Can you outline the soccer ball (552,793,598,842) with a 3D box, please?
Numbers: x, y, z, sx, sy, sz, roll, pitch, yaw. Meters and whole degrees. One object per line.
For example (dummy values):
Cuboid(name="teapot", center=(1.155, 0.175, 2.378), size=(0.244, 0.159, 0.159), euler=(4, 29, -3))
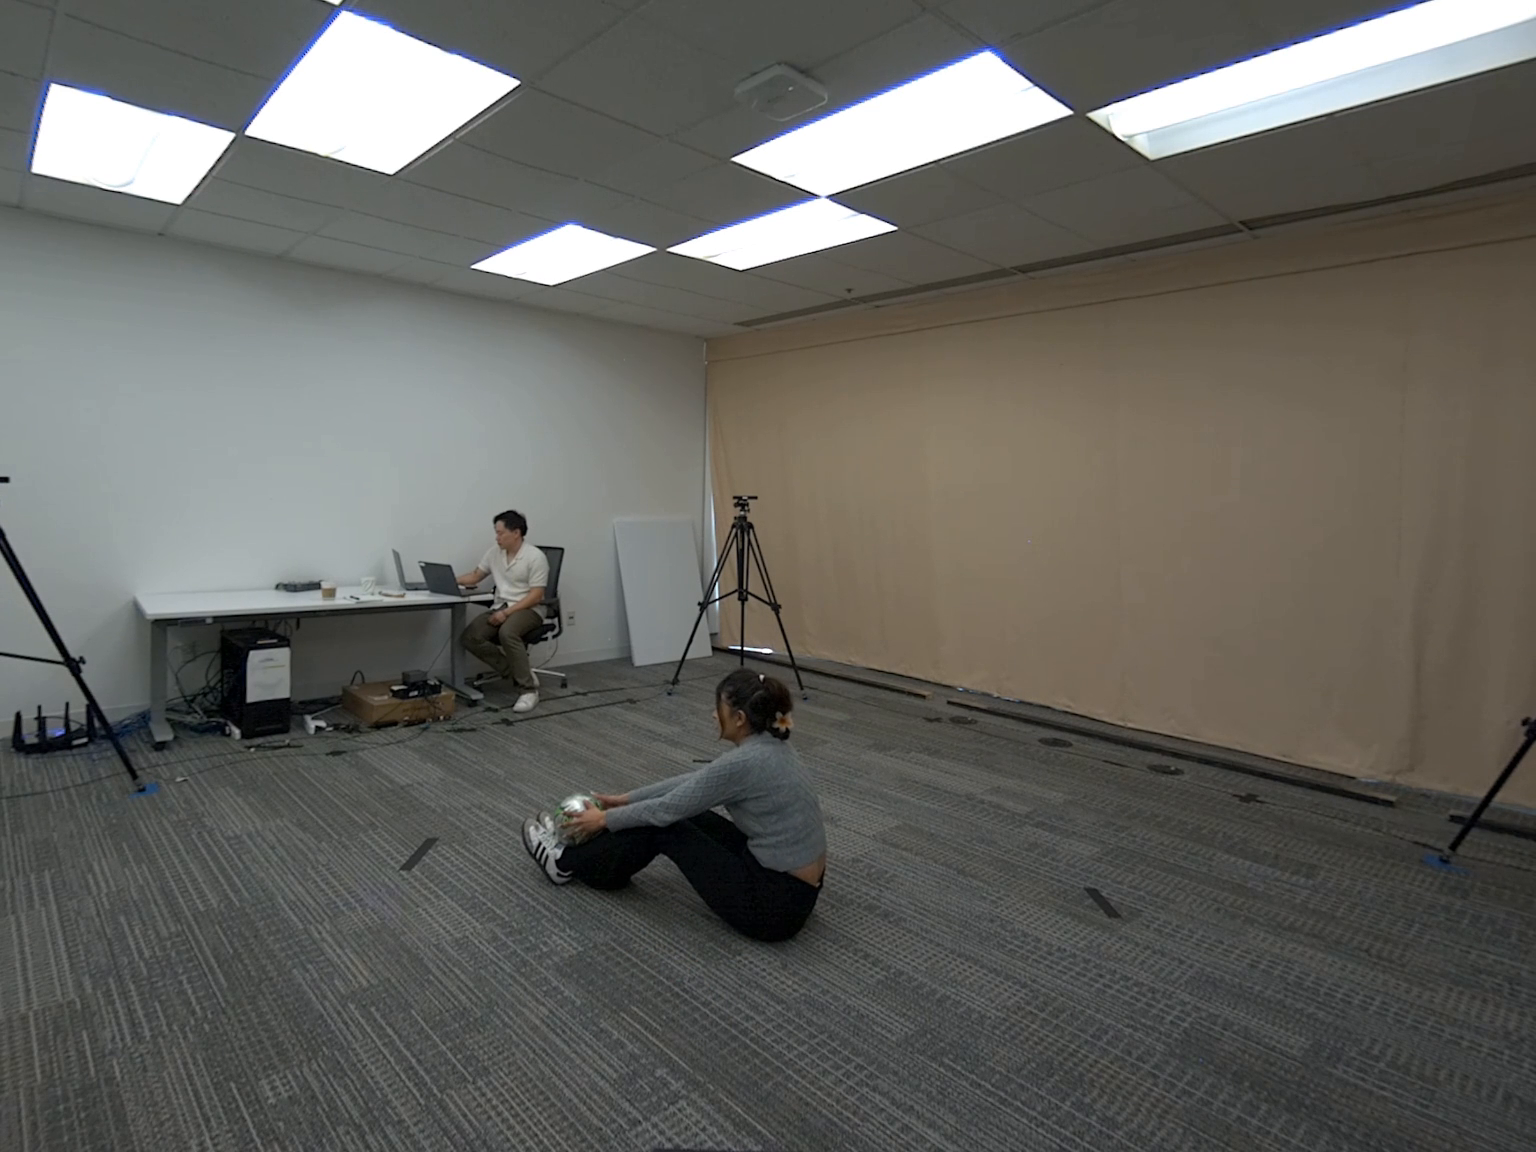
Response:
Cuboid(name="soccer ball", center=(-0.673, 0.867, 3.012), size=(0.187, 0.187, 0.188), euler=(1, 4, -1))
